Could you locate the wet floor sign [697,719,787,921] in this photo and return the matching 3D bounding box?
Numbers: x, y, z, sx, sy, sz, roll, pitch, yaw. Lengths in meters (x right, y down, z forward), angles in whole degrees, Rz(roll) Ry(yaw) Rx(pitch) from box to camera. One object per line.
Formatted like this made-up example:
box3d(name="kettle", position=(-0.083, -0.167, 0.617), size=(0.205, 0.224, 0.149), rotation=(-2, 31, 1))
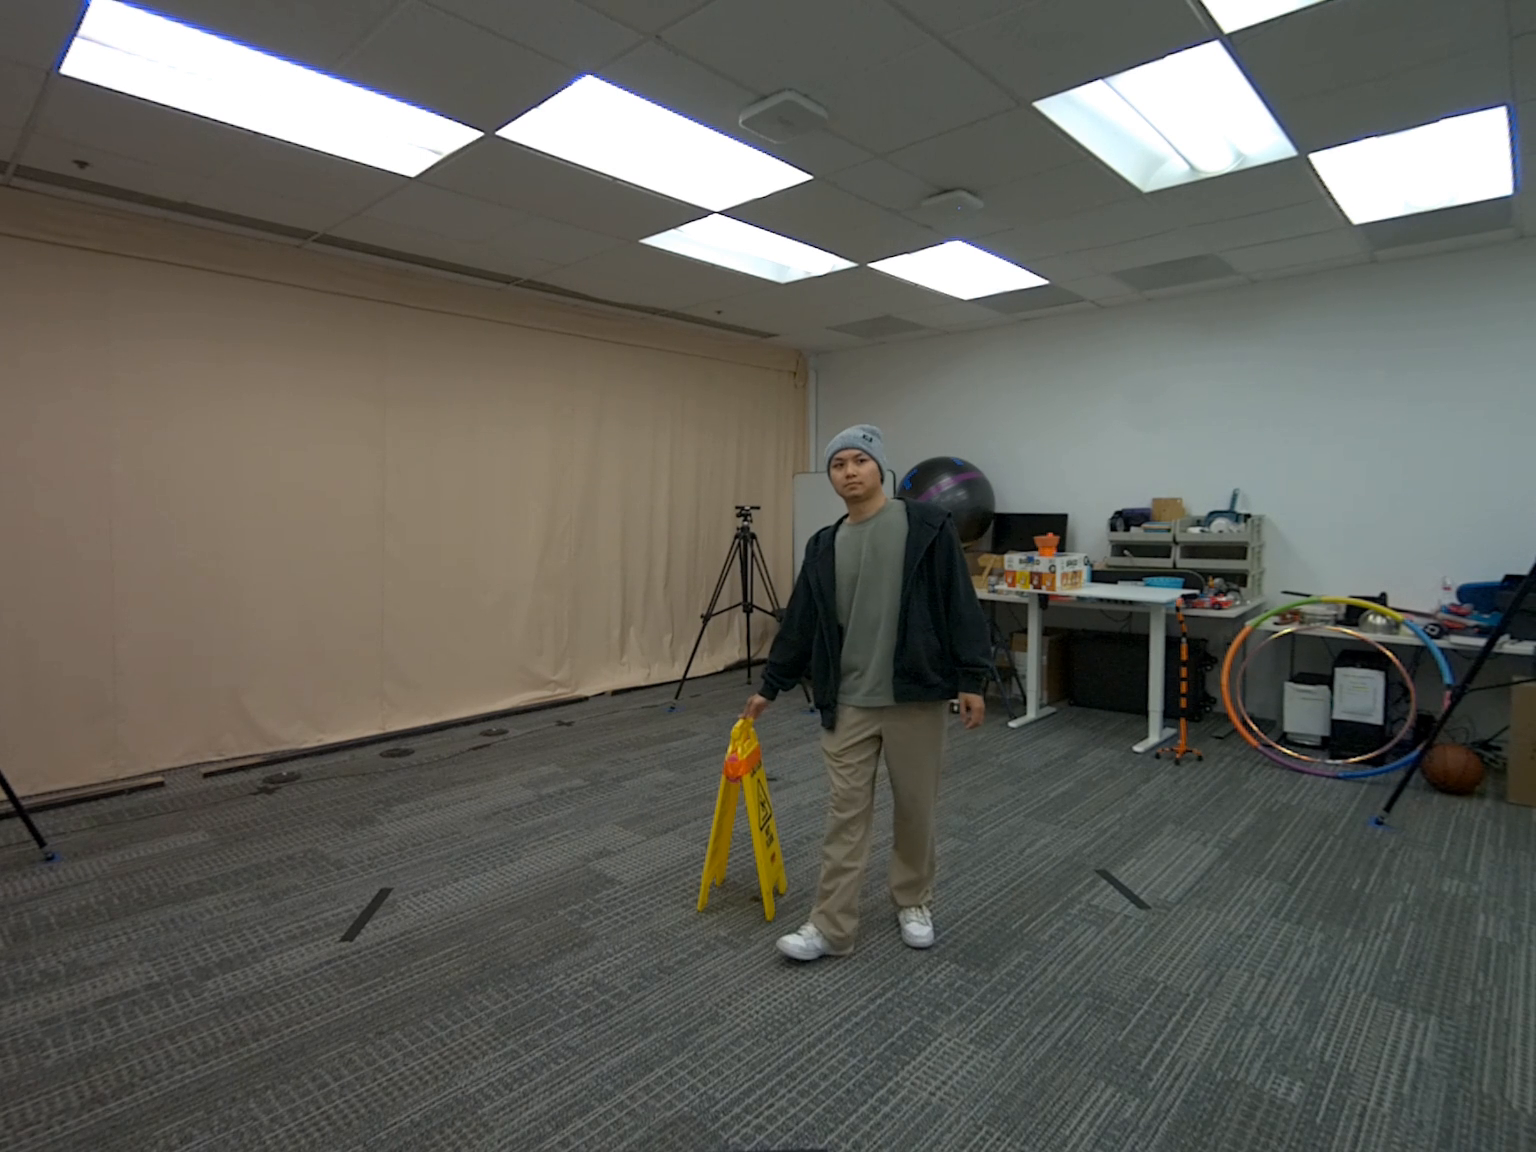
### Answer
box3d(name="wet floor sign", position=(-0.090, 0.822, 2.965), size=(0.295, 0.645, 0.278), rotation=(0, 2, 15))
